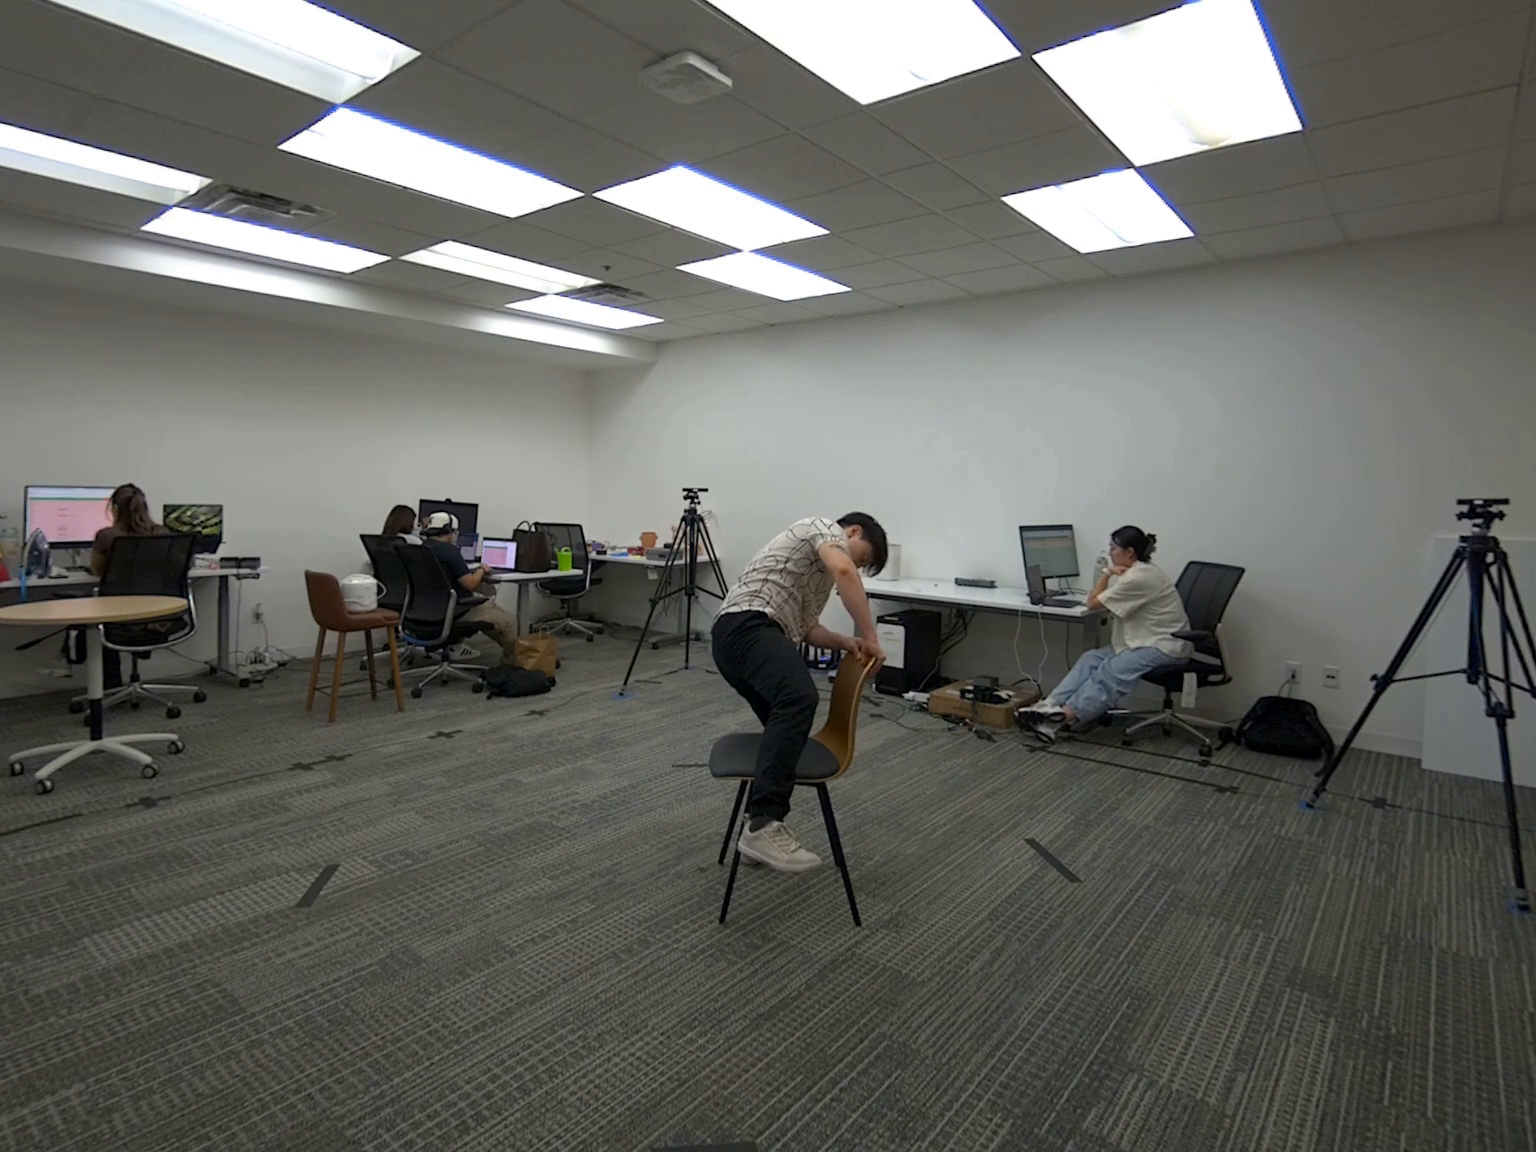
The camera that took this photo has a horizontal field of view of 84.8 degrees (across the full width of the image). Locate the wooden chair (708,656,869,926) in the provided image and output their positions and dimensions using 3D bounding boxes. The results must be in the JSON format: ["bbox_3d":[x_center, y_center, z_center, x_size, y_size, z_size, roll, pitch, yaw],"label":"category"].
[{"bbox_3d":[0.051,0.669,2.909,0.522,0.875,0.481,6,3,-3],"label":"wooden chair"}]
